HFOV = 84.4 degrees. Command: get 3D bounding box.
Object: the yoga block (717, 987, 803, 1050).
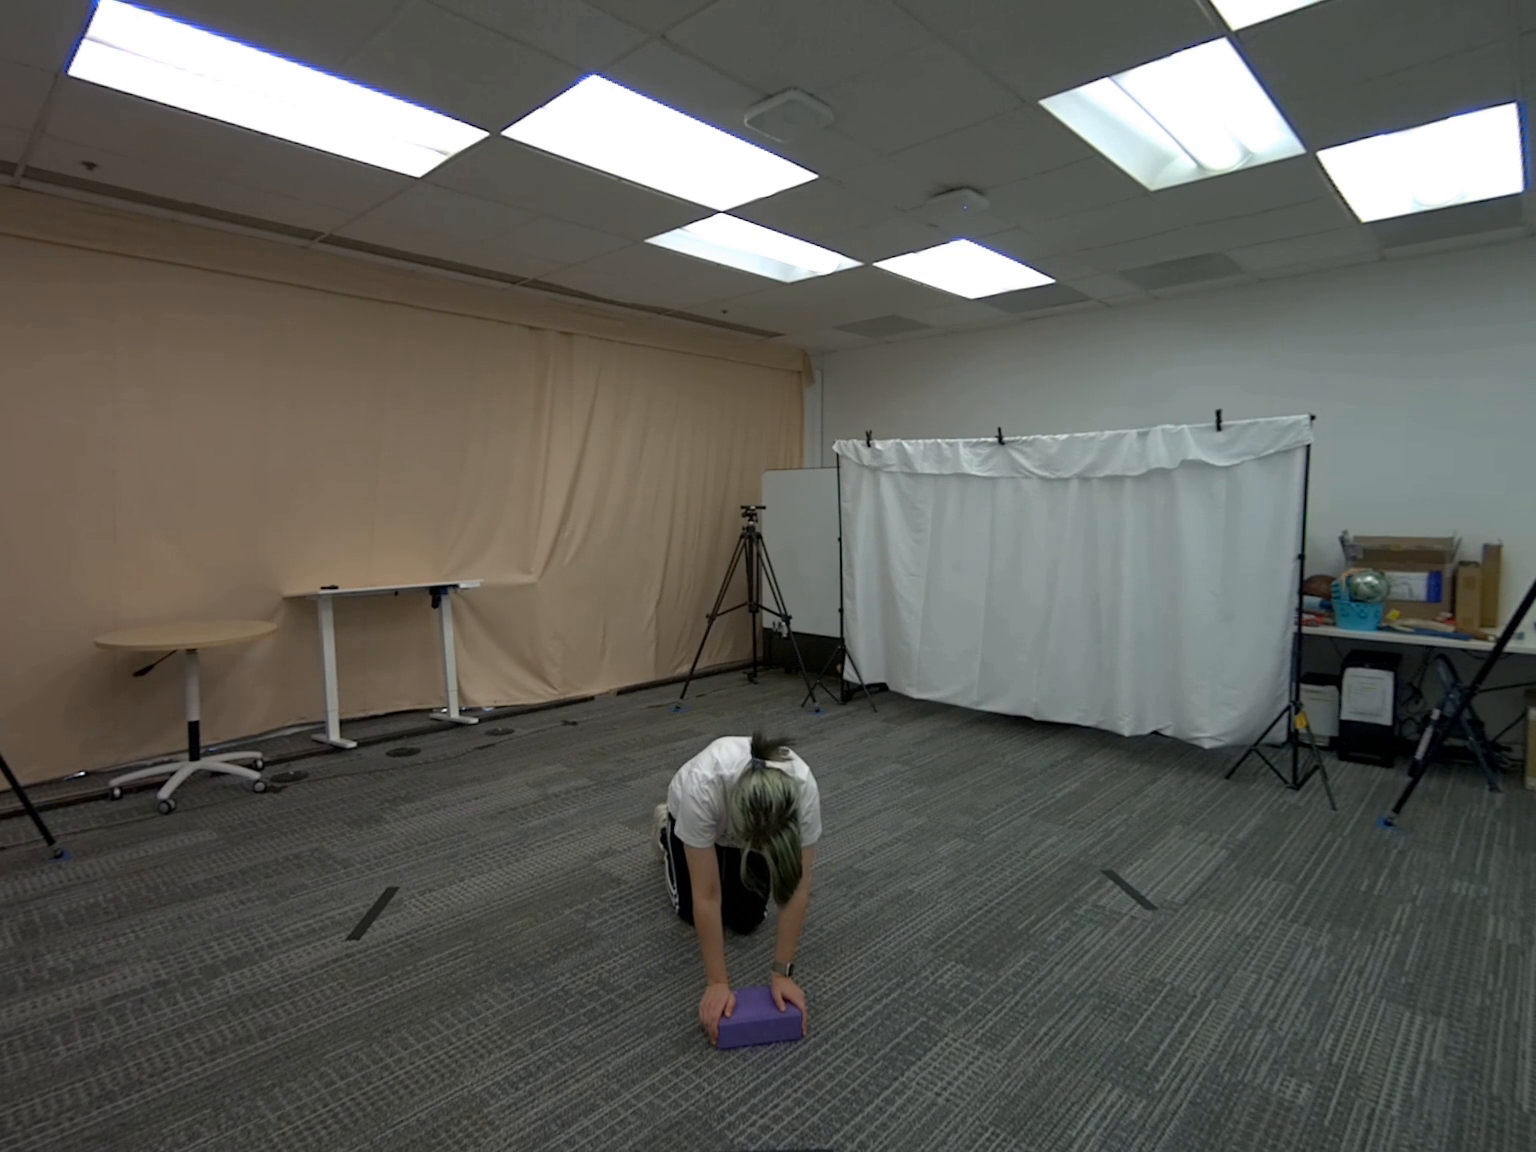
[{"bbox_3d":[-0.041,1.167,2.243,0.226,0.076,0.151,0,5,-12],"label":"yoga block"}]
